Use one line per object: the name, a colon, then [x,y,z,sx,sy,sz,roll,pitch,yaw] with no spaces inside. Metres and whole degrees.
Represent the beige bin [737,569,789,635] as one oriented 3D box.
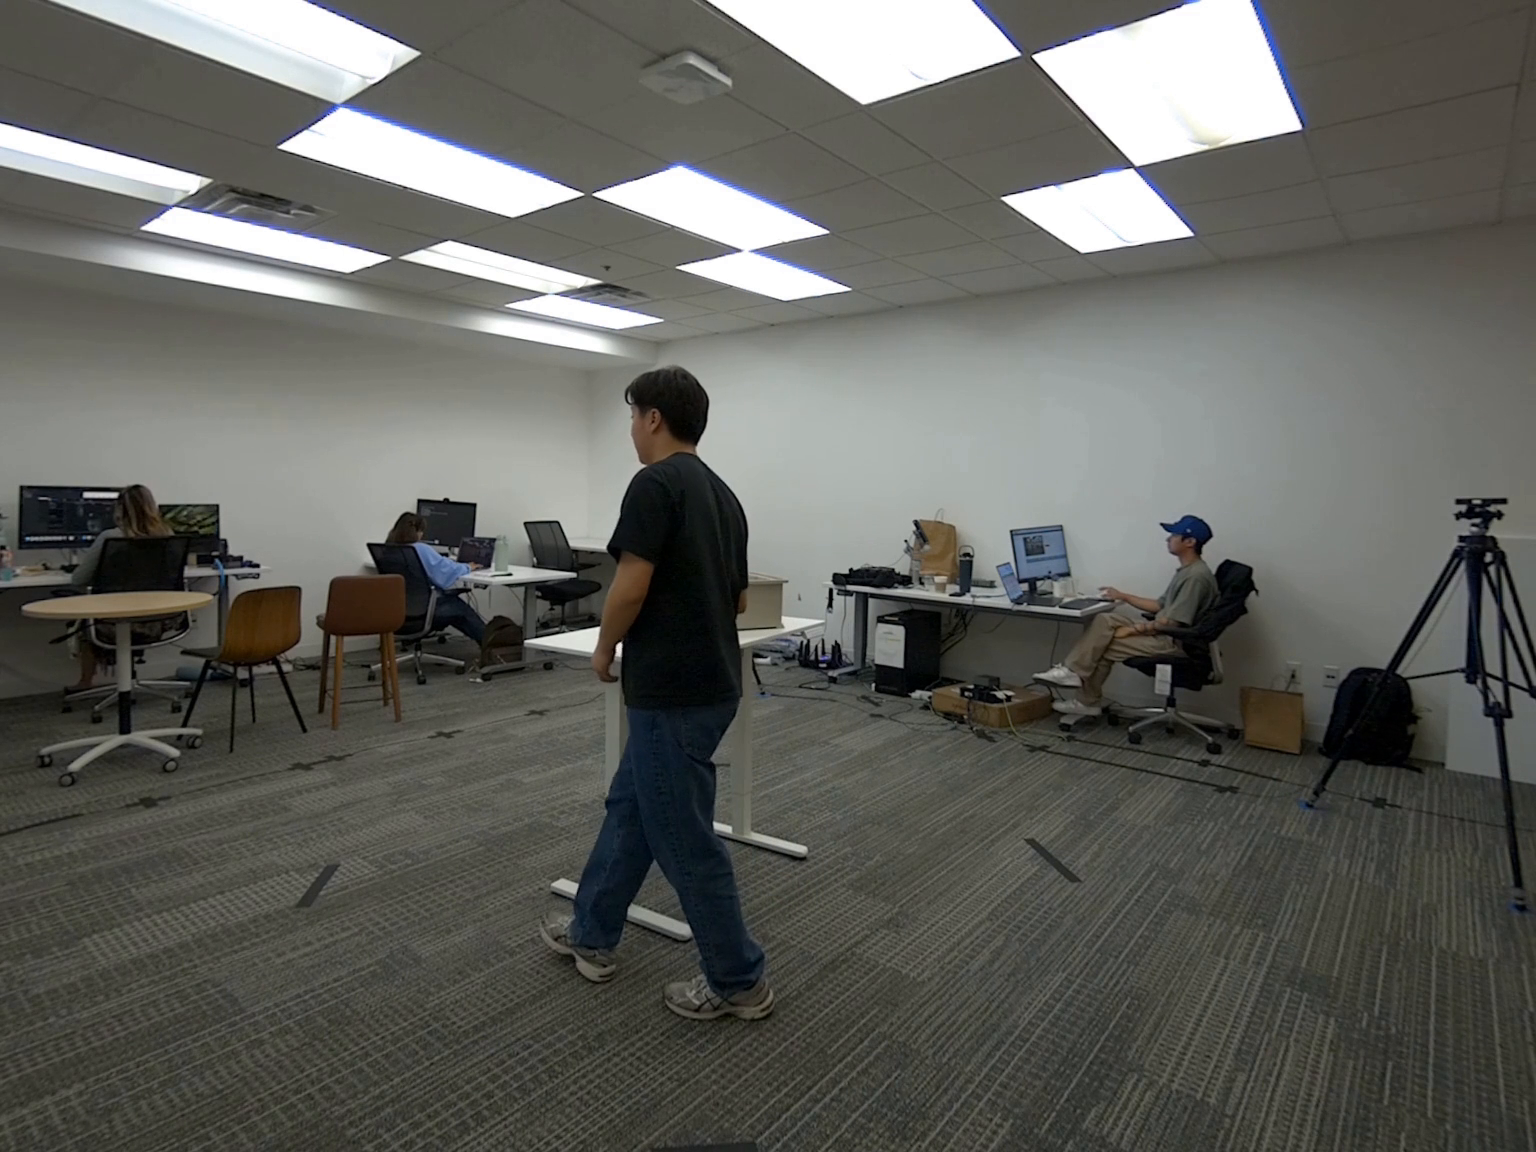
beige bin: [-0.201,0.092,3.177,0.413,0.188,0.387,-1,6,-24]
